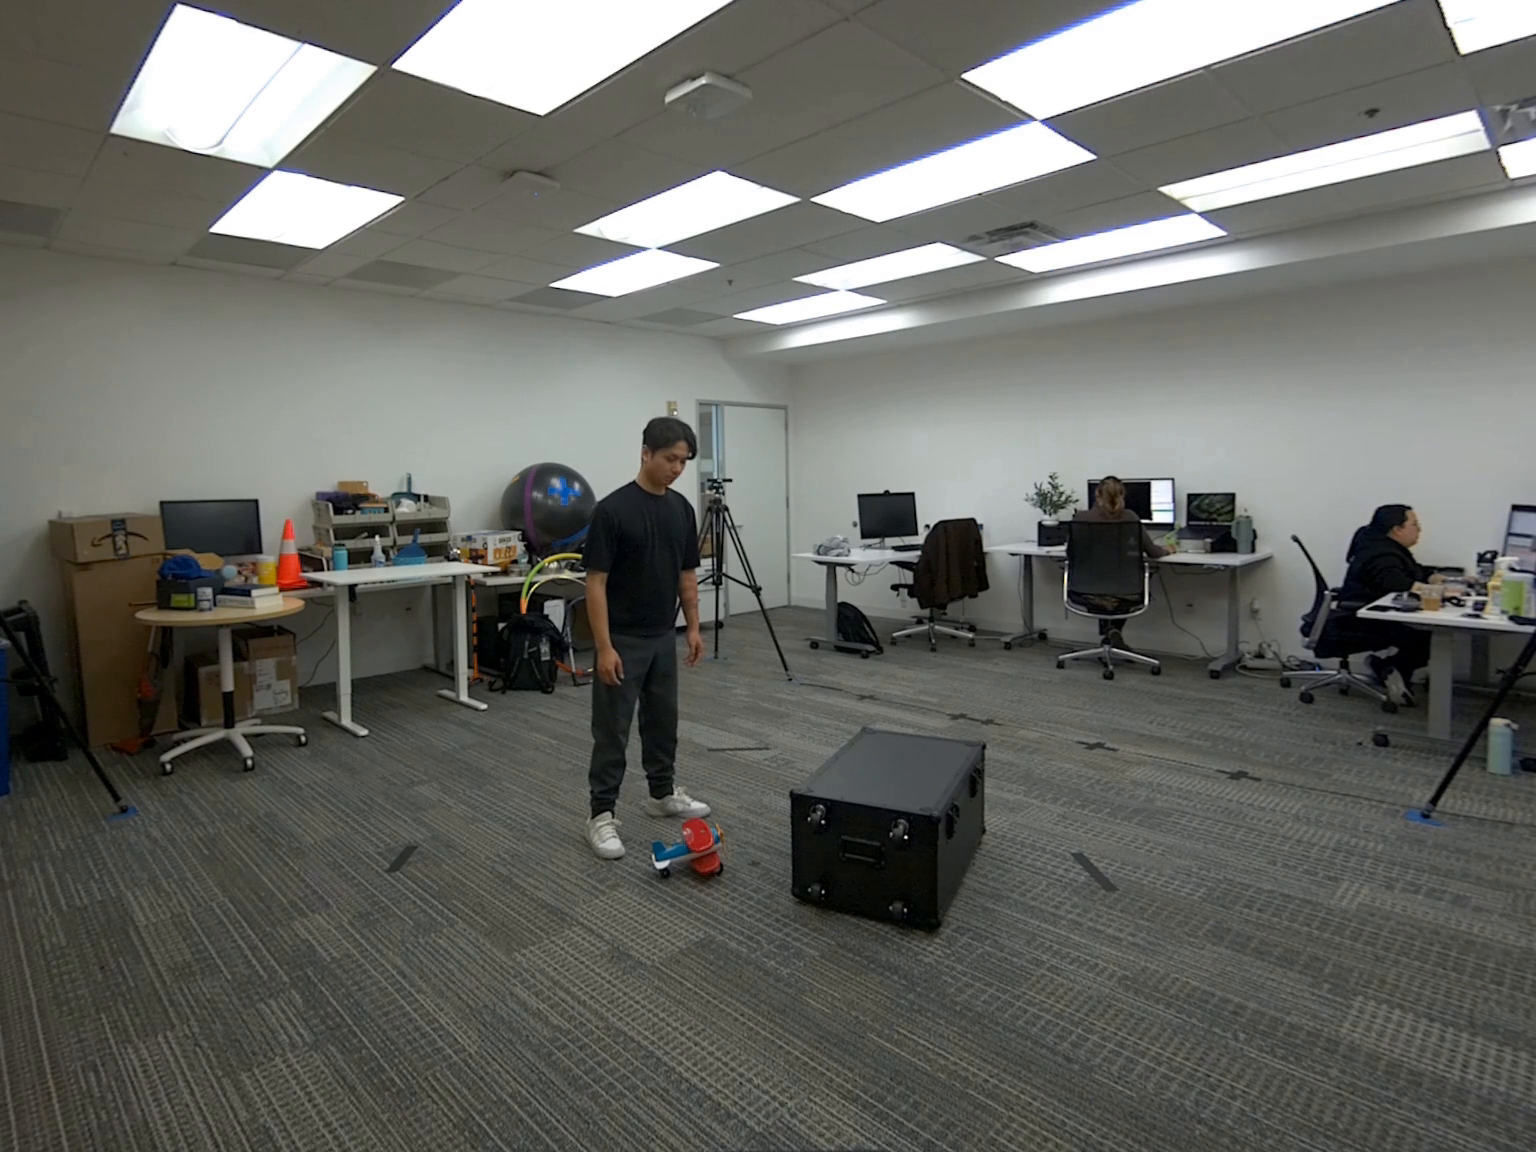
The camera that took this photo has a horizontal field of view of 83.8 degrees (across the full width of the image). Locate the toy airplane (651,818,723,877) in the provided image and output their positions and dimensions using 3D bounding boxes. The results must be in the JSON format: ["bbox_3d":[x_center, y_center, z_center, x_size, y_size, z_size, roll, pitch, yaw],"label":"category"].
[{"bbox_3d":[-0.263,0.983,3.017,0.252,0.156,0.259,-5,7,-43],"label":"toy airplane"}]
